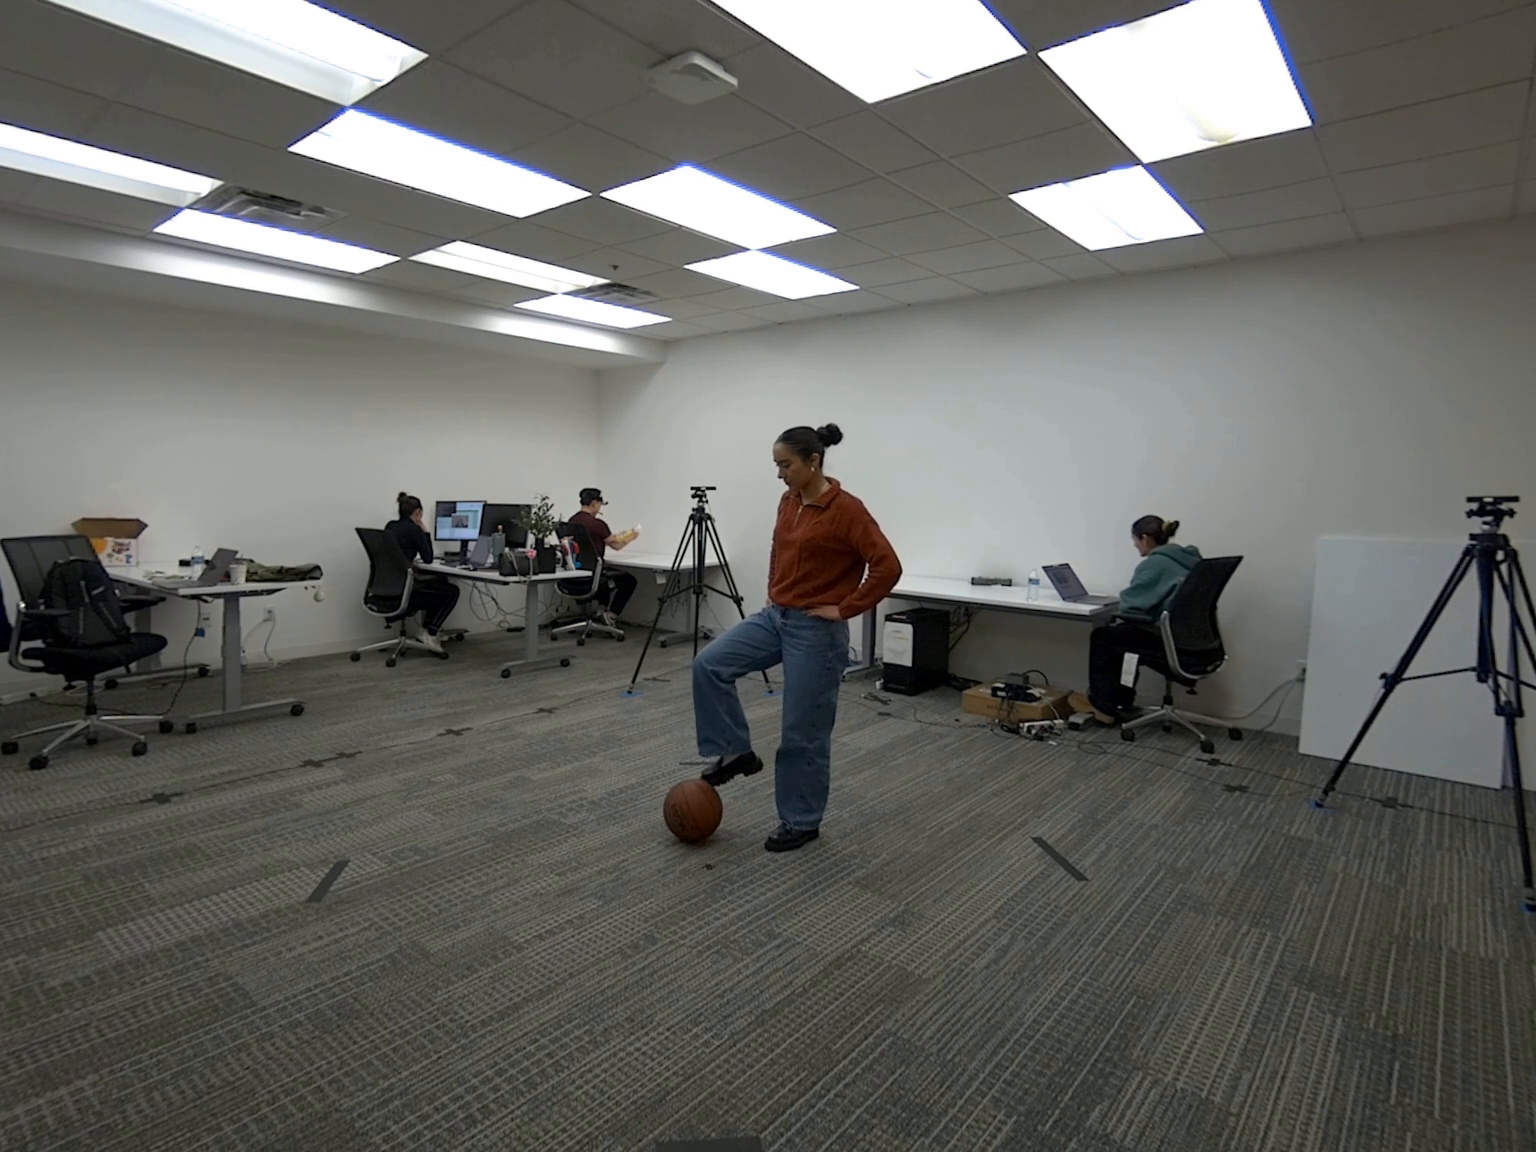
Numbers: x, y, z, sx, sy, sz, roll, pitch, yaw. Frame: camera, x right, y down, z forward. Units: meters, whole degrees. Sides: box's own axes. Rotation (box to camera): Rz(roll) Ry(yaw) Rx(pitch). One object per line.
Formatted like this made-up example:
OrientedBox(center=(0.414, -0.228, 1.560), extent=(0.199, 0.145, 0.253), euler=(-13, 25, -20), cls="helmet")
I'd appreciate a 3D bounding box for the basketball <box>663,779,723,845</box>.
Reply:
OrientedBox(center=(-0.310, 0.921, 3.353), extent=(0.235, 0.235, 0.237), euler=(1, 4, -2), cls="basketball")
